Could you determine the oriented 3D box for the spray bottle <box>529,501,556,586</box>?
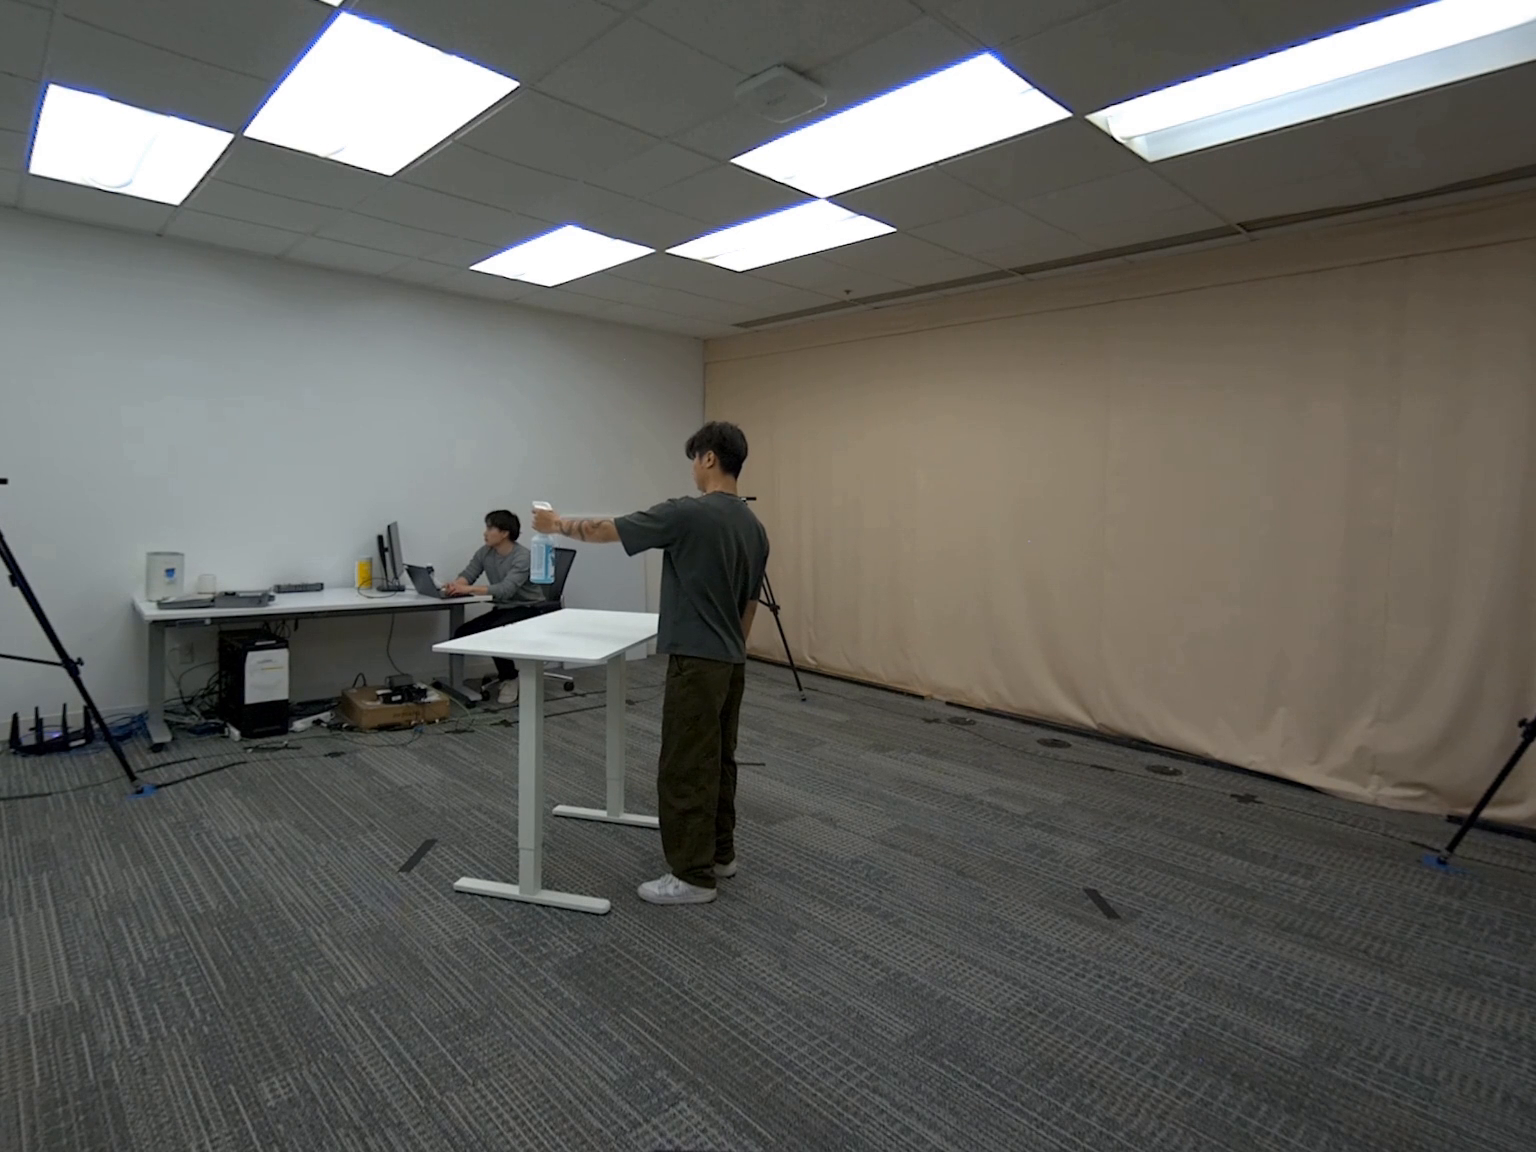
[{"bbox_3d":[-0.829,-0.121,3.101,0.085,0.297,0.092,0,4,-35],"label":"spray bottle"}]
